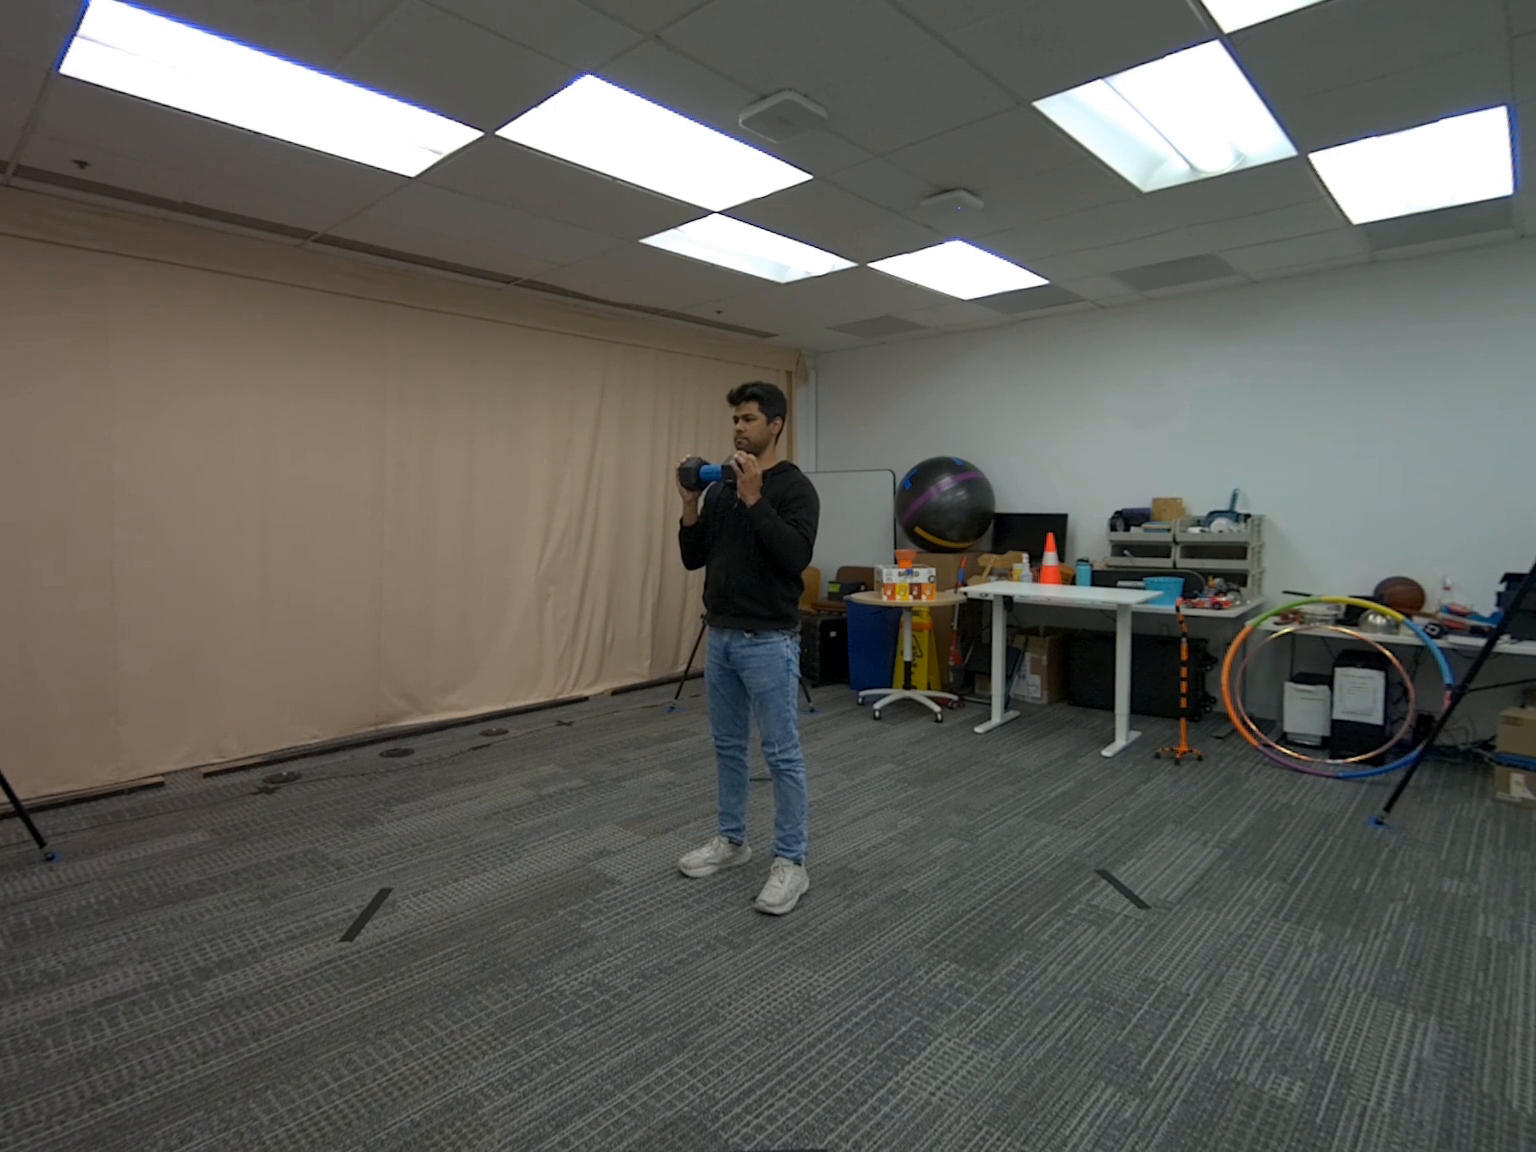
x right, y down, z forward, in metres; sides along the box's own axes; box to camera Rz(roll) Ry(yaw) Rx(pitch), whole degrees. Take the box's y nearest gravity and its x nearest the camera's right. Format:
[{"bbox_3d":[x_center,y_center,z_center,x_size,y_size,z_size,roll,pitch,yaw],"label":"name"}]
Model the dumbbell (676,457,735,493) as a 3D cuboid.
[{"bbox_3d":[-0.168,-0.356,2.928,0.303,0.122,0.106,4,13,45],"label":"dumbbell"}]
